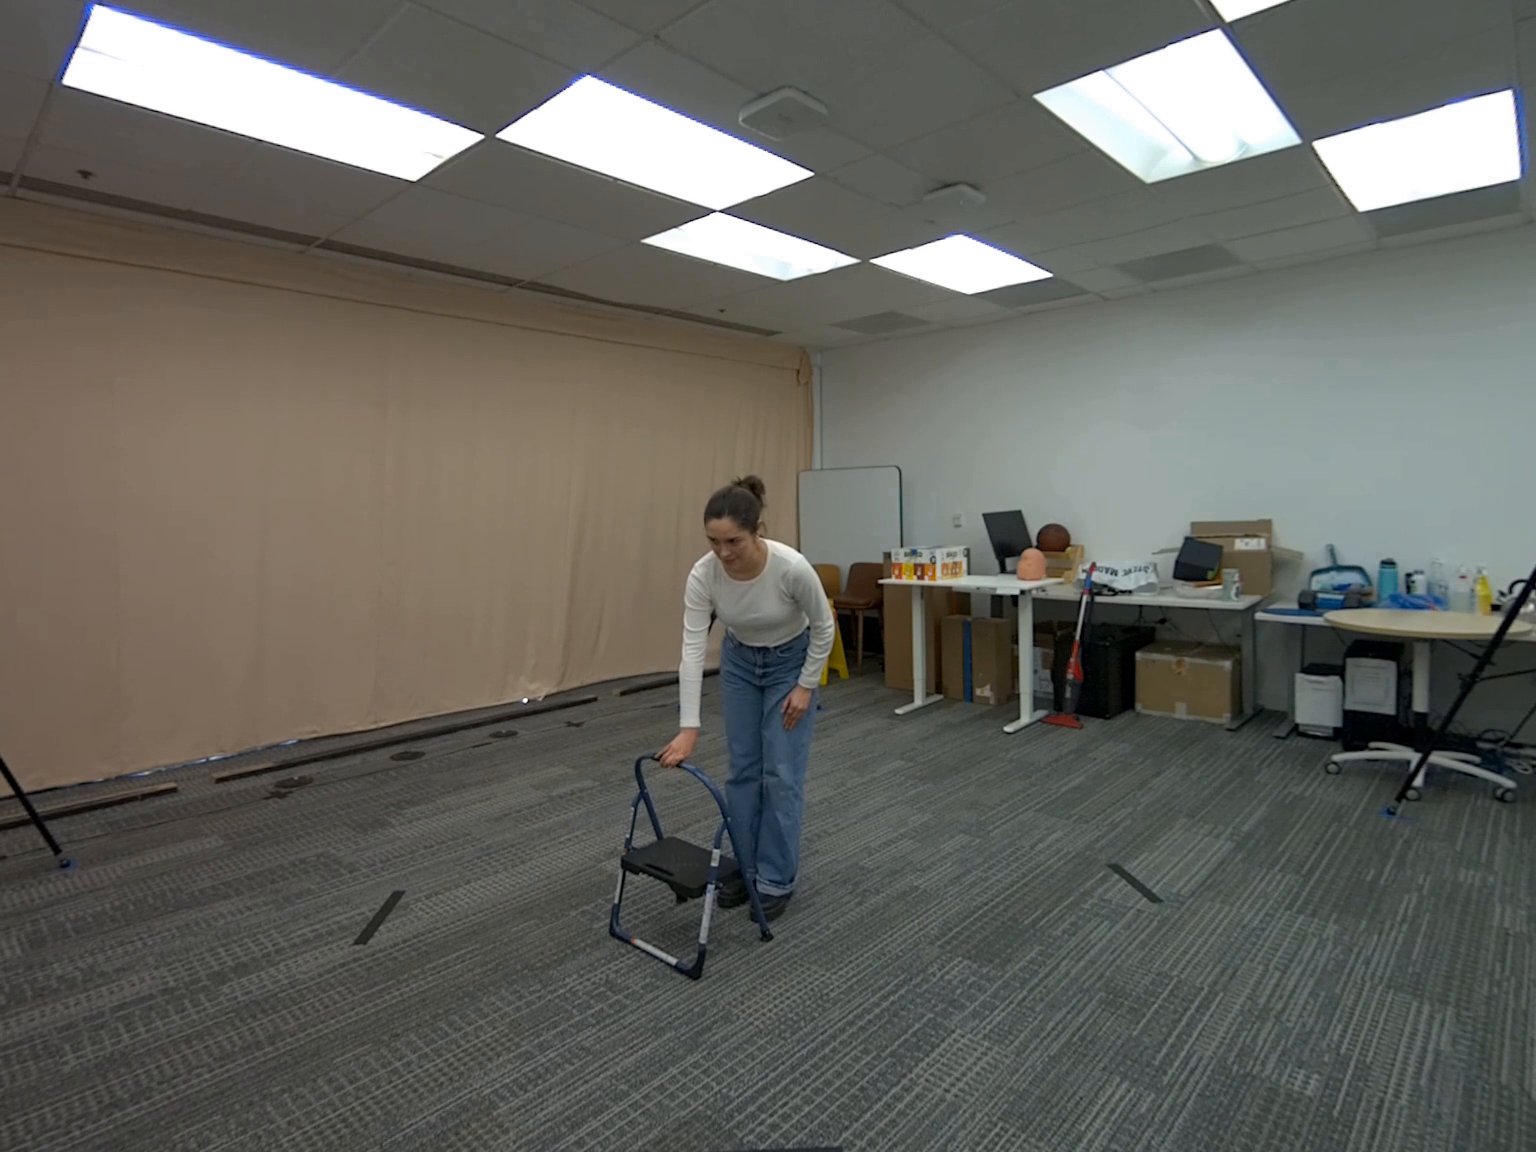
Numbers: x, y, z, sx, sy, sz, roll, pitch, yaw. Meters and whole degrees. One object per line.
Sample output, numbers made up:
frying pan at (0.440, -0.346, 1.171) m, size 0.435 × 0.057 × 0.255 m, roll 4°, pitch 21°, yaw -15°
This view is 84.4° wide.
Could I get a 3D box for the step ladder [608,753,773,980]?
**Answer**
step ladder at (-0.256, 0.864, 2.714) m, size 0.445 × 0.605 × 0.338 m, roll 2°, pitch 4°, yaw 42°
